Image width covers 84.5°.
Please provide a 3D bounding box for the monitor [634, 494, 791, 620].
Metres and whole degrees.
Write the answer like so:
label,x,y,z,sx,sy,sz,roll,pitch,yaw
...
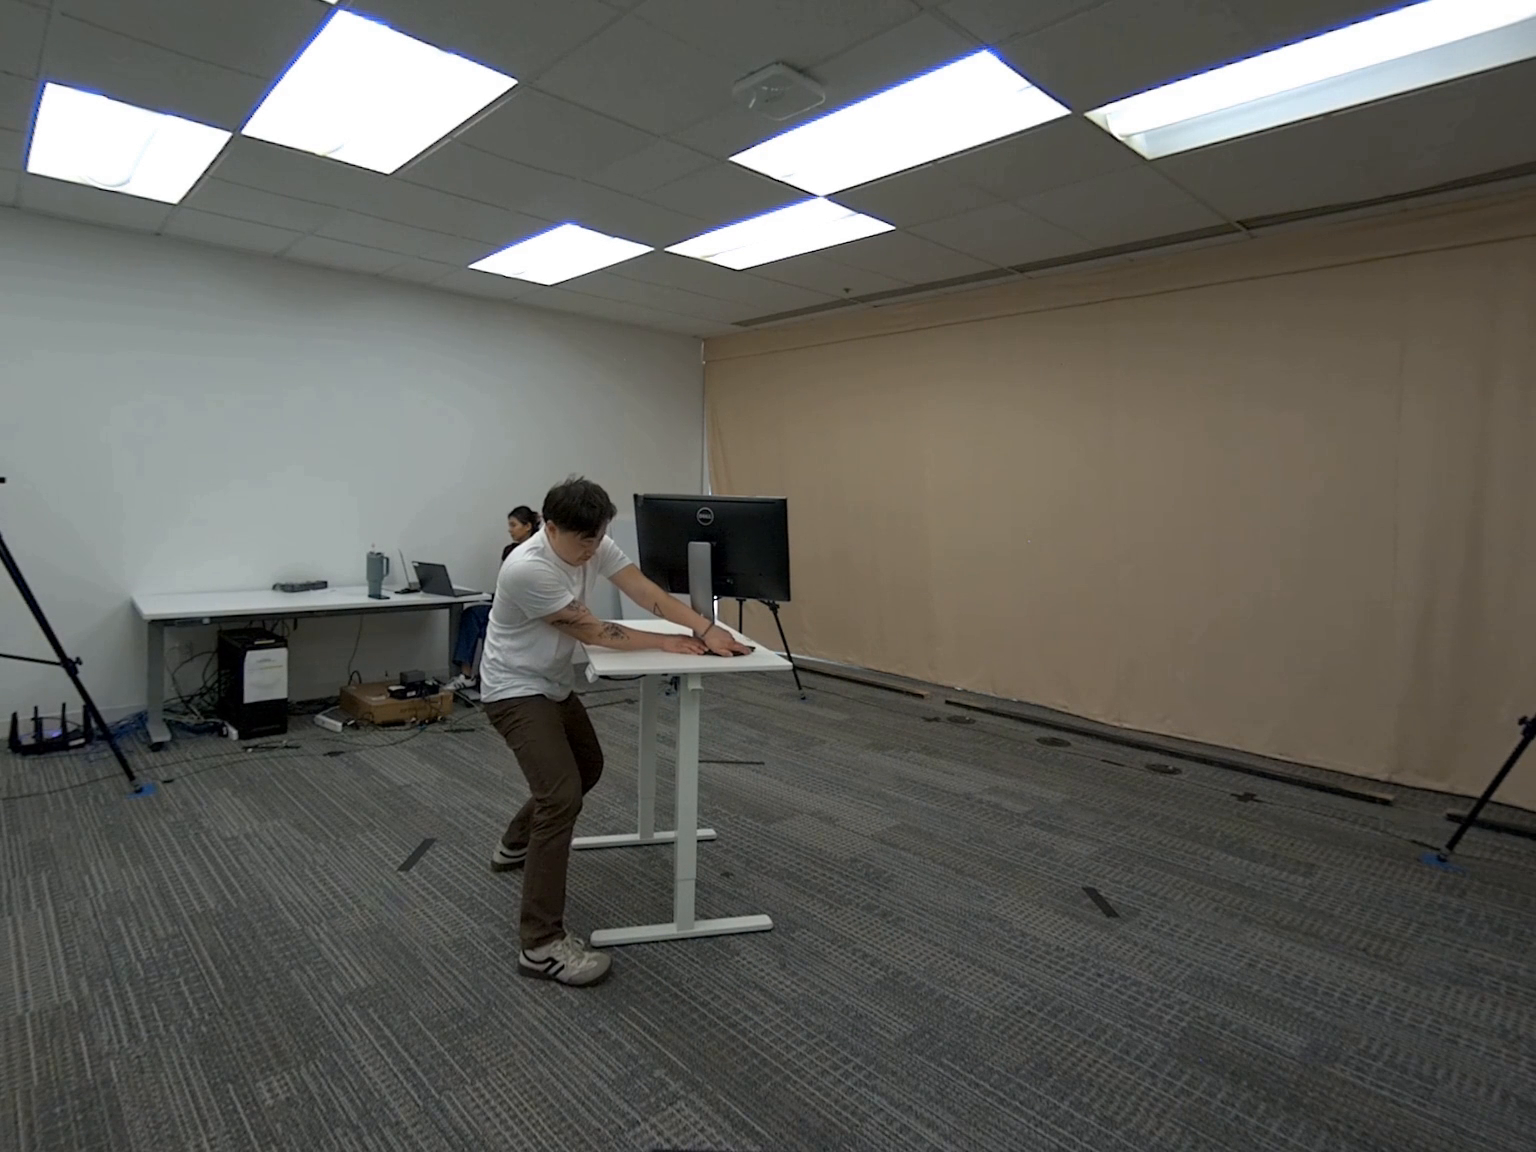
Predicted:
label,x,y,z,sx,sy,sz,roll,pitch,yaw
monitor,-0.203,-0.008,2.775,0.547,0.520,0.185,2,6,18
